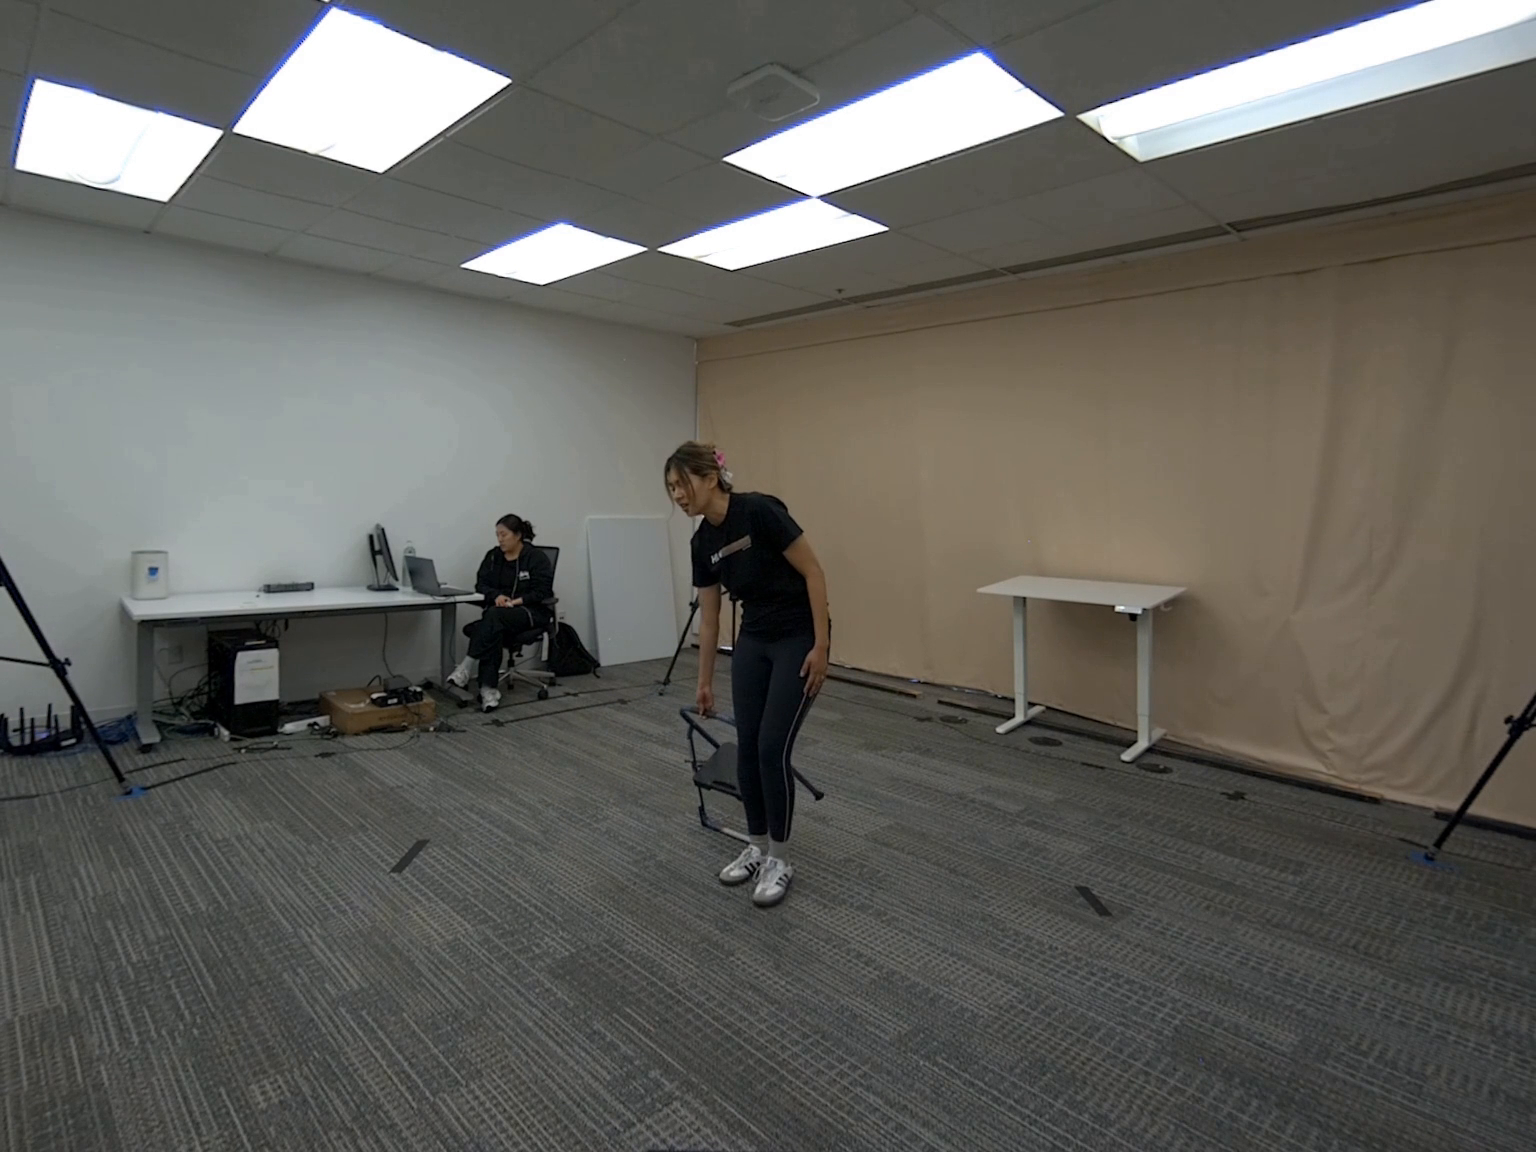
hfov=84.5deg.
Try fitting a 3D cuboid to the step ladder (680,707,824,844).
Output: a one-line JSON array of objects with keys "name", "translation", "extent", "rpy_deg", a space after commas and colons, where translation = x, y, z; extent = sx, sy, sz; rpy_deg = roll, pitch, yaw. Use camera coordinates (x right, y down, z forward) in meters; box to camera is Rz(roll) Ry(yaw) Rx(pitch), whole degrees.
[{"name": "step ladder", "translation": [-0.122, 0.734, 3.419], "extent": [0.441, 0.593, 0.348], "rpy_deg": [4, 34, 41]}]
